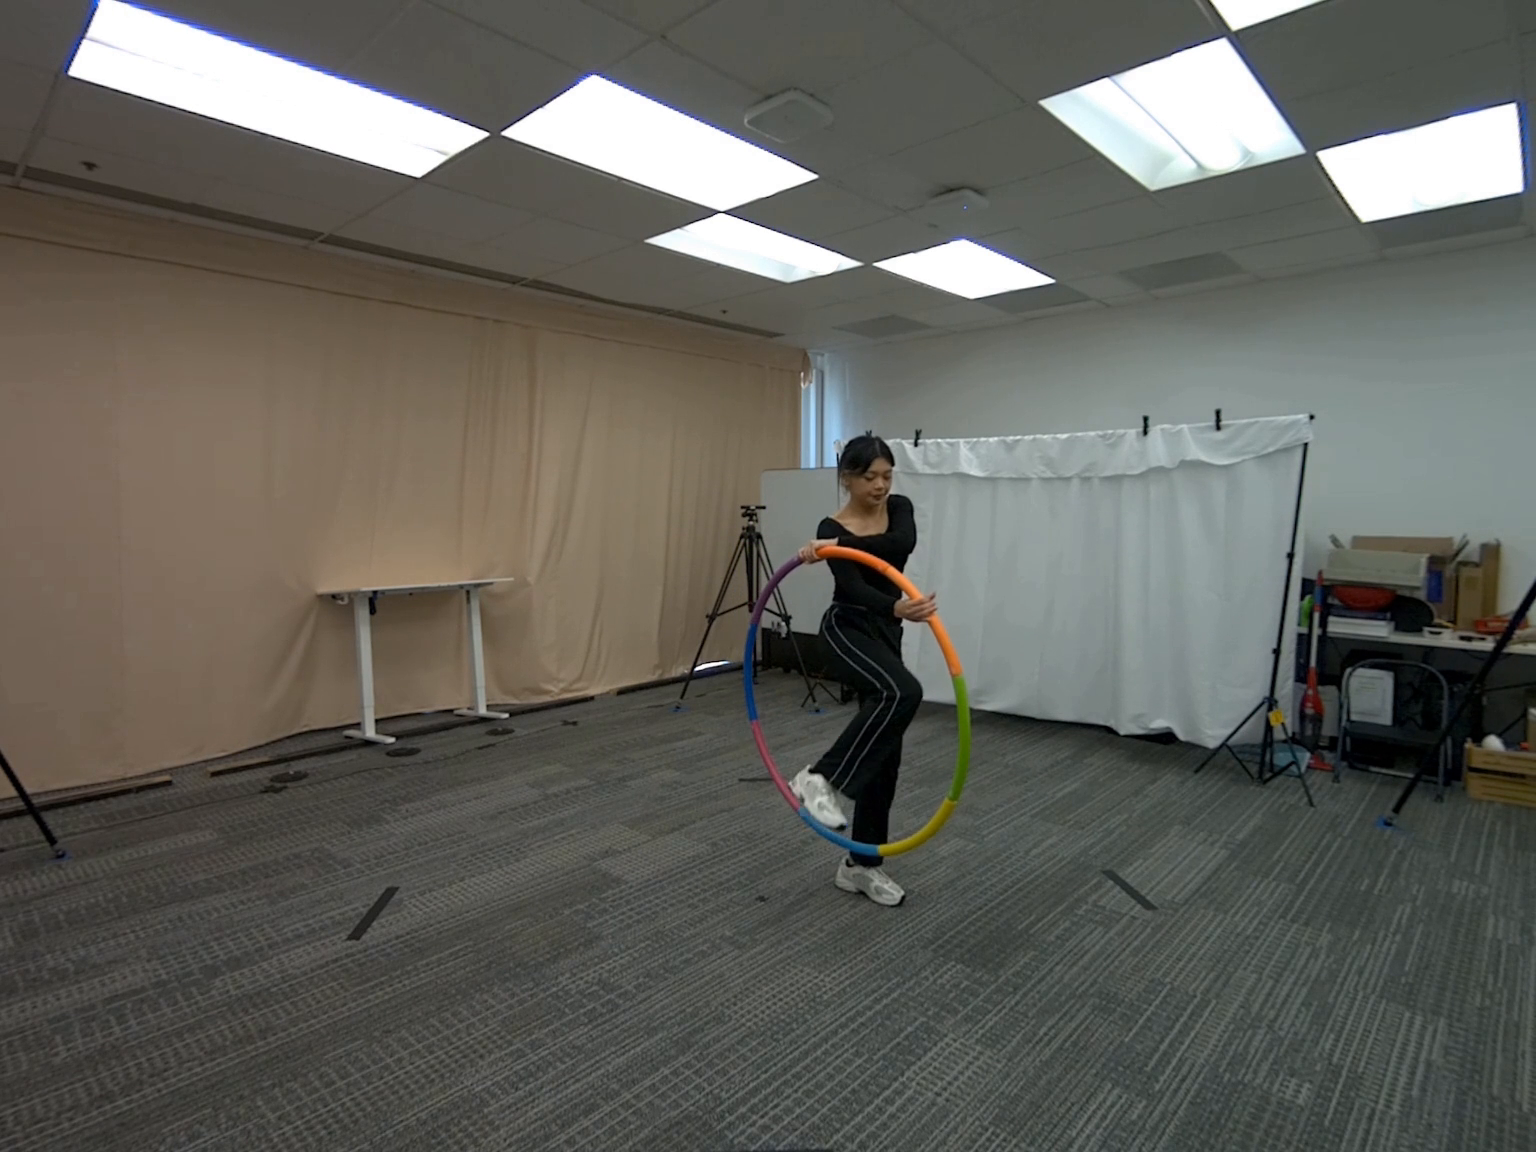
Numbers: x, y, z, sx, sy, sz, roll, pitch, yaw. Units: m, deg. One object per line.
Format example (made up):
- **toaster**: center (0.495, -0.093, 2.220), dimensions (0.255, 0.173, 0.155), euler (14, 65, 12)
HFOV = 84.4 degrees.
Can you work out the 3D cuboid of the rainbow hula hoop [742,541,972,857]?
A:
- **rainbow hula hoop**: center (0.251, 0.393, 2.747), dimensions (0.034, 0.975, 1.011), euler (-5, 6, -39)
